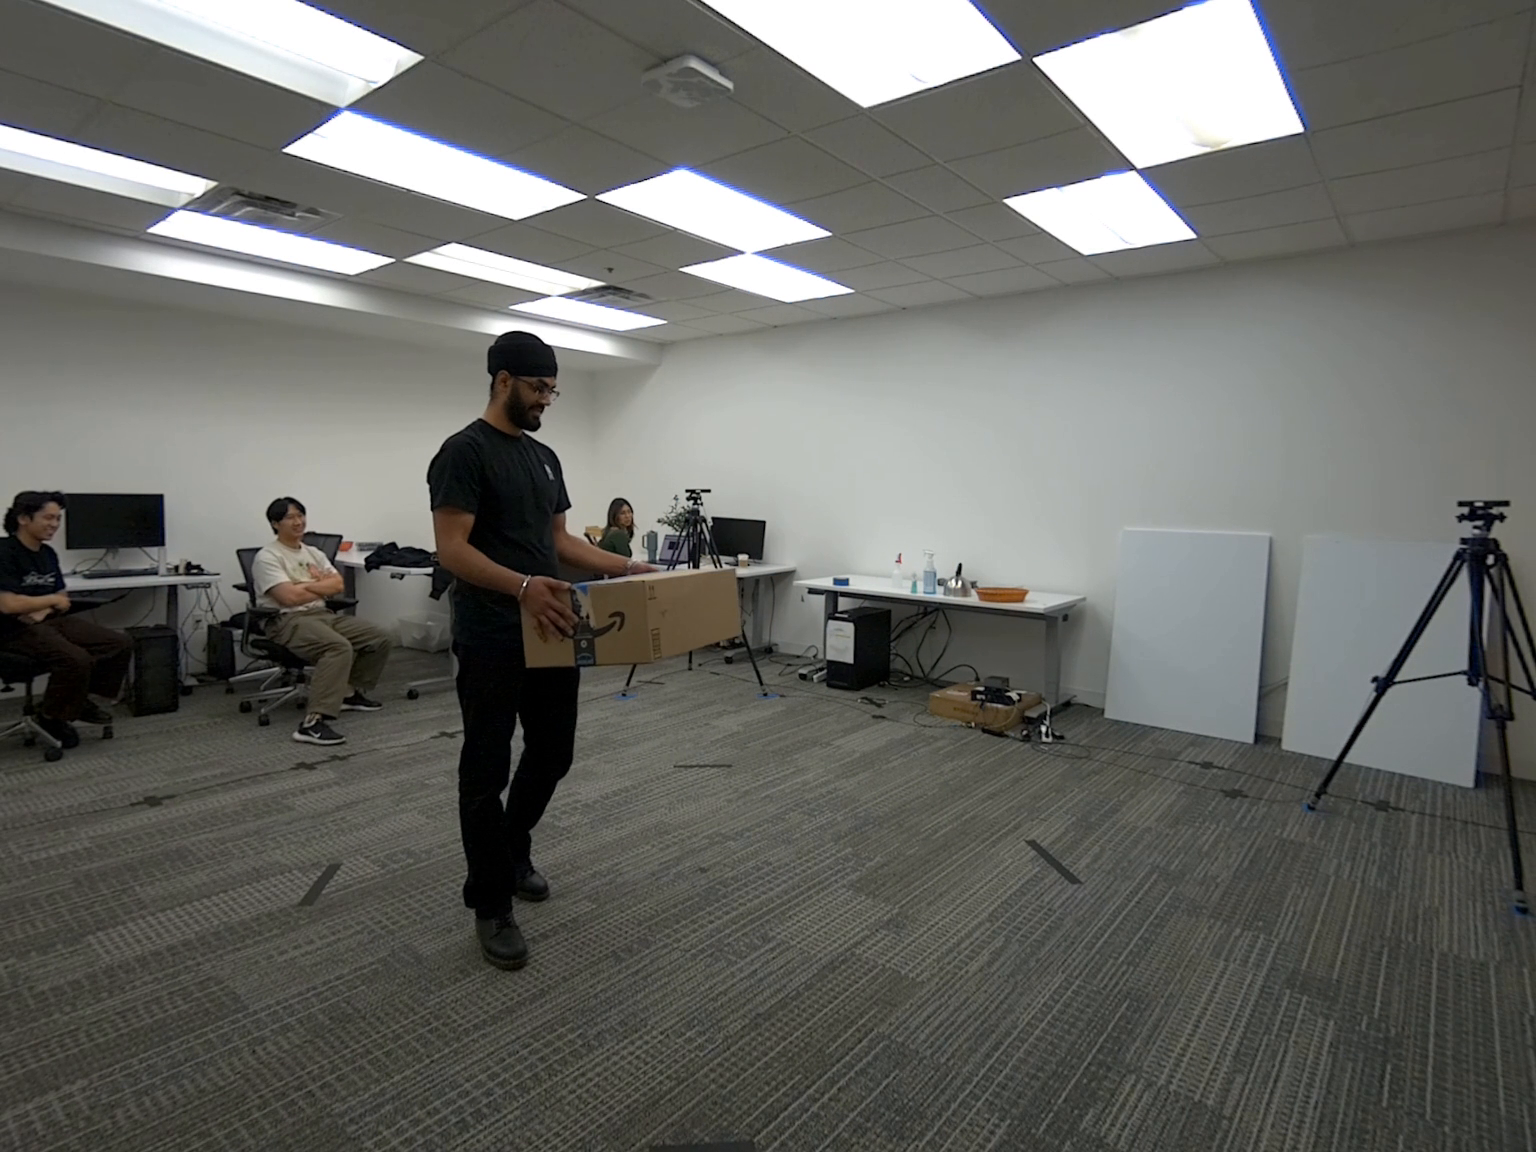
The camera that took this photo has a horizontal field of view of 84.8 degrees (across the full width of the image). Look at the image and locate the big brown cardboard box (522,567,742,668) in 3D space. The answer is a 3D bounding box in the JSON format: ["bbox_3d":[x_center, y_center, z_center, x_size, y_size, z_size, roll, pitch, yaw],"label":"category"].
[{"bbox_3d":[-0.400,0.114,2.526,0.427,0.233,0.576,-6,2,24],"label":"big brown cardboard box"}]
